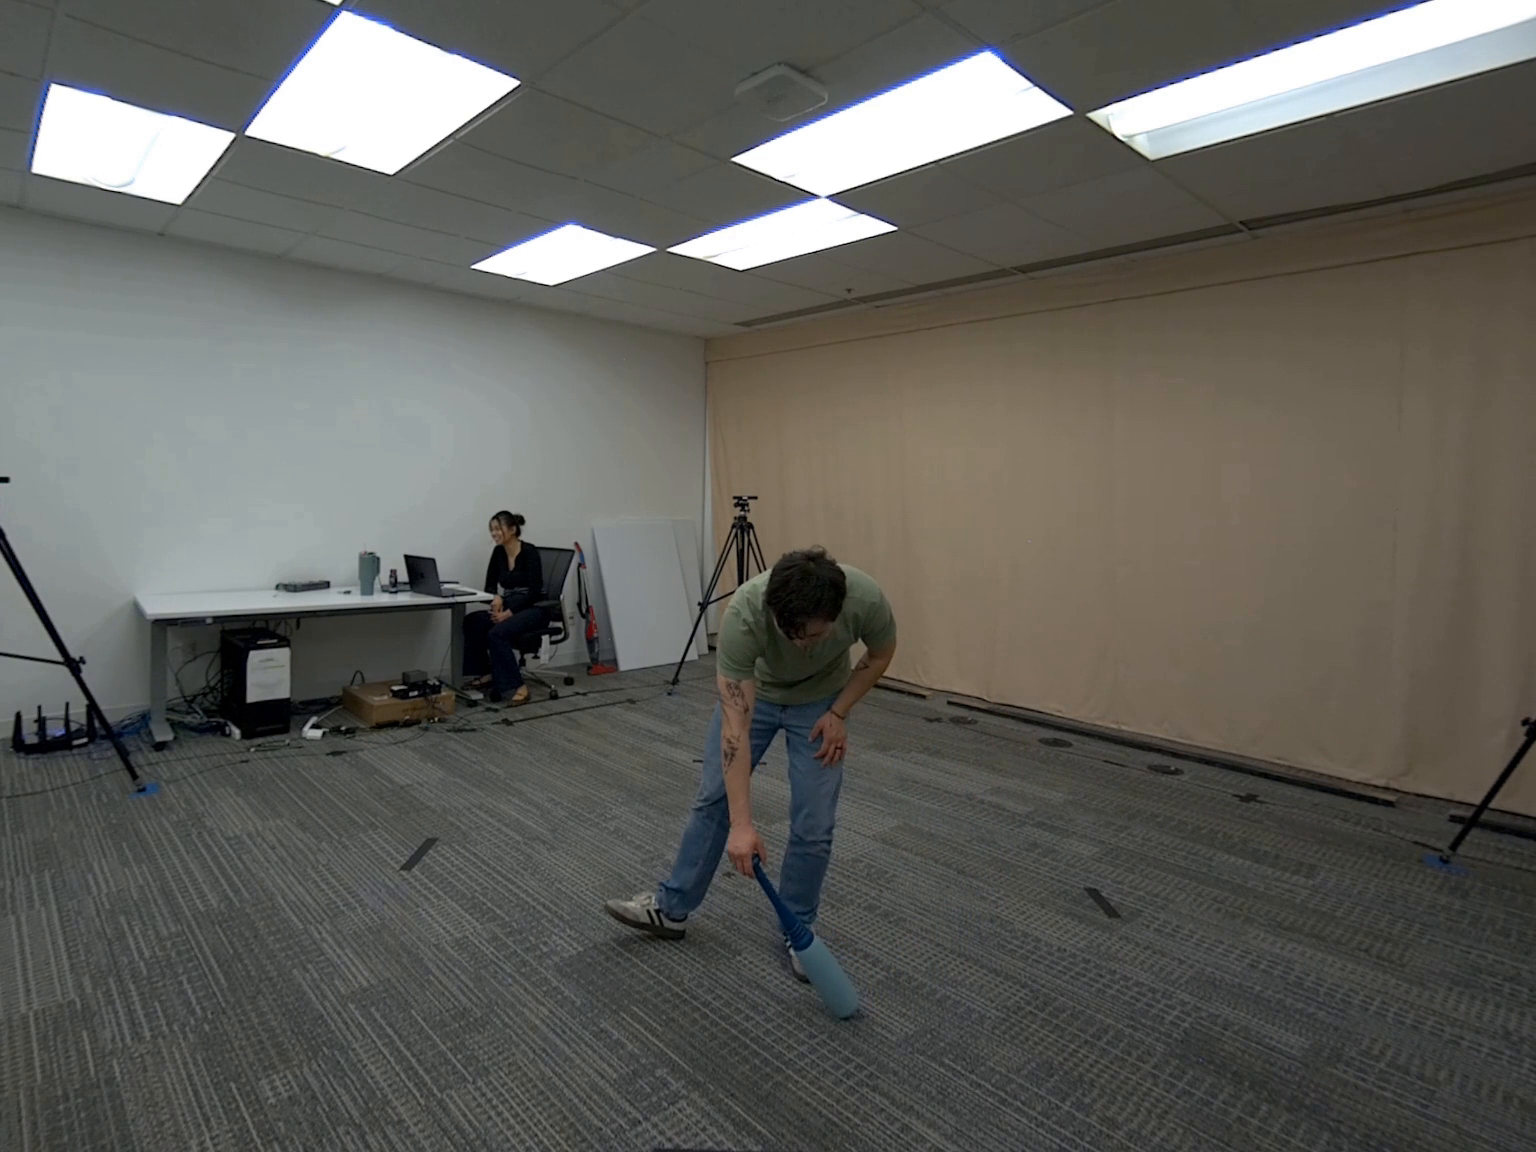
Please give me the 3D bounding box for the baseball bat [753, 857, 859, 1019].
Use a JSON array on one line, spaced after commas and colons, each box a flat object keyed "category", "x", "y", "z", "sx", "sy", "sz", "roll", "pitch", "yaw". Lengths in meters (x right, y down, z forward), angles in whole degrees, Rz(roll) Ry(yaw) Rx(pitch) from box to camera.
[{"category": "baseball bat", "x": 0.072, "y": 0.950, "z": 2.224, "sx": 0.089, "sy": 0.535, "sz": 0.090, "roll": -29, "pitch": 14, "yaw": 7}]
